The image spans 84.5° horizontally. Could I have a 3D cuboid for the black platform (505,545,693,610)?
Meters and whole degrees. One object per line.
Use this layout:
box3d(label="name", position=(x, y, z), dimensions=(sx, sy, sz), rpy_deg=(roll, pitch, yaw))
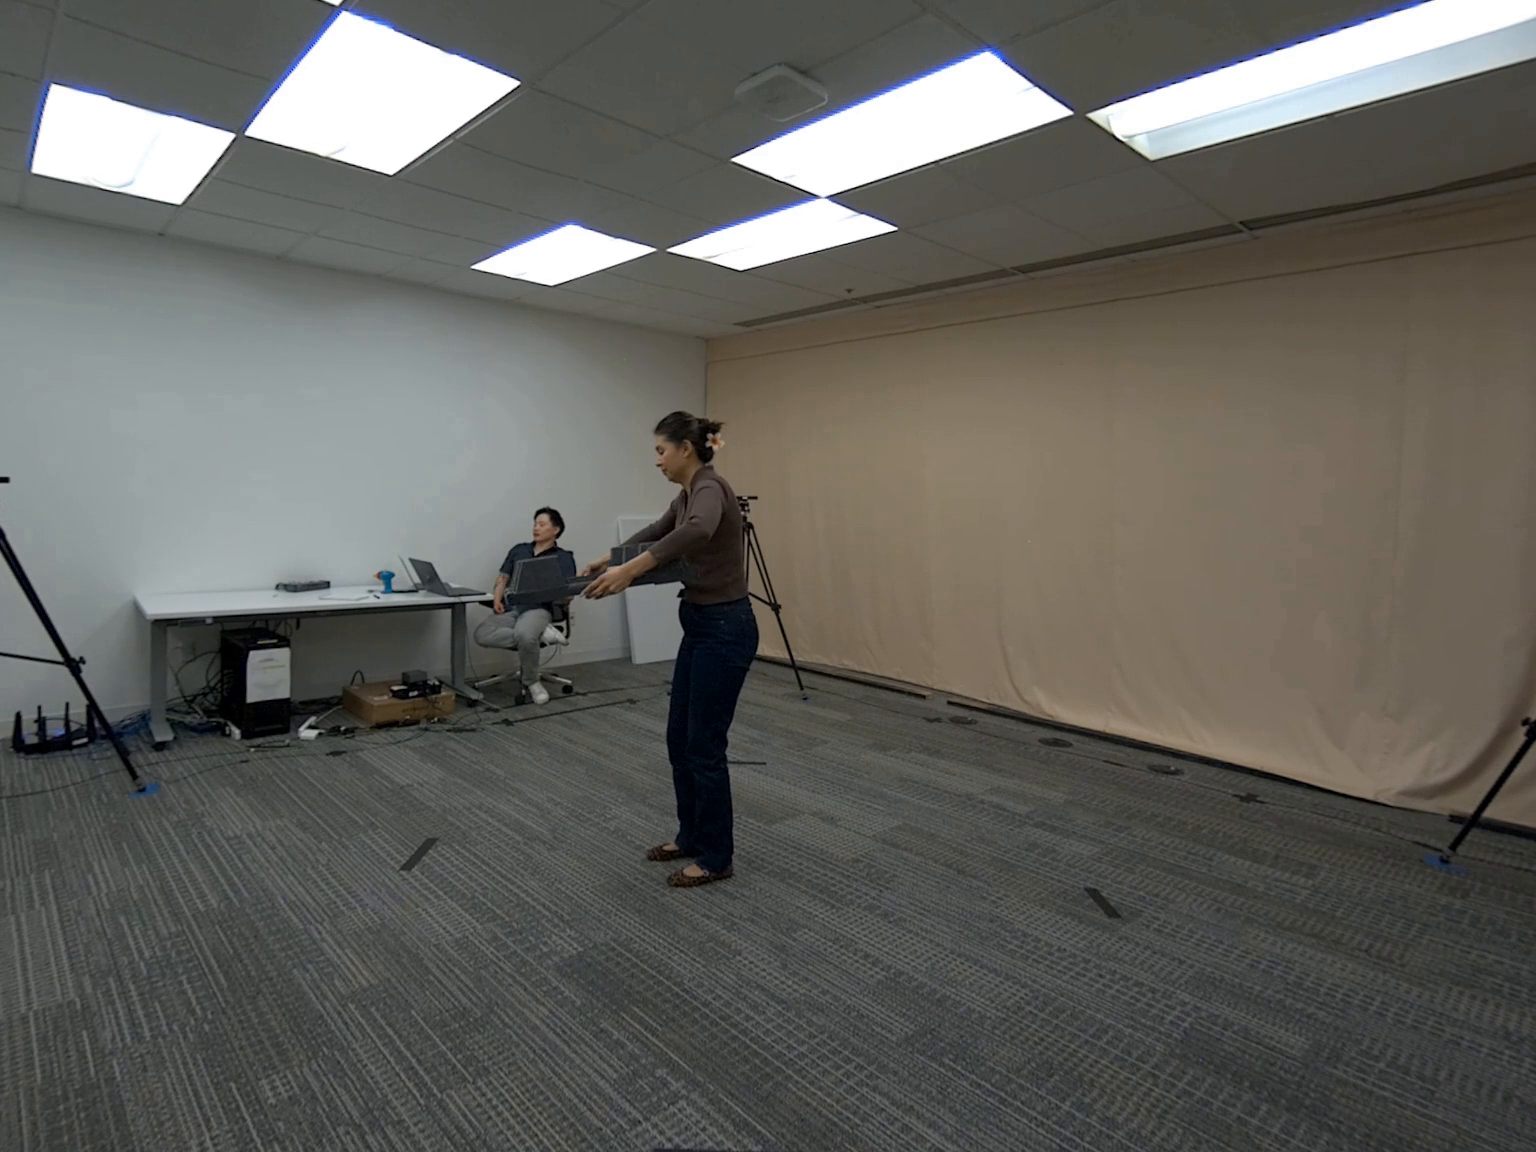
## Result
box3d(label="black platform", position=(-0.633, -0.016, 2.978), dimensions=(0.599, 0.143, 0.815), rpy_deg=(-6, 3, -16))
